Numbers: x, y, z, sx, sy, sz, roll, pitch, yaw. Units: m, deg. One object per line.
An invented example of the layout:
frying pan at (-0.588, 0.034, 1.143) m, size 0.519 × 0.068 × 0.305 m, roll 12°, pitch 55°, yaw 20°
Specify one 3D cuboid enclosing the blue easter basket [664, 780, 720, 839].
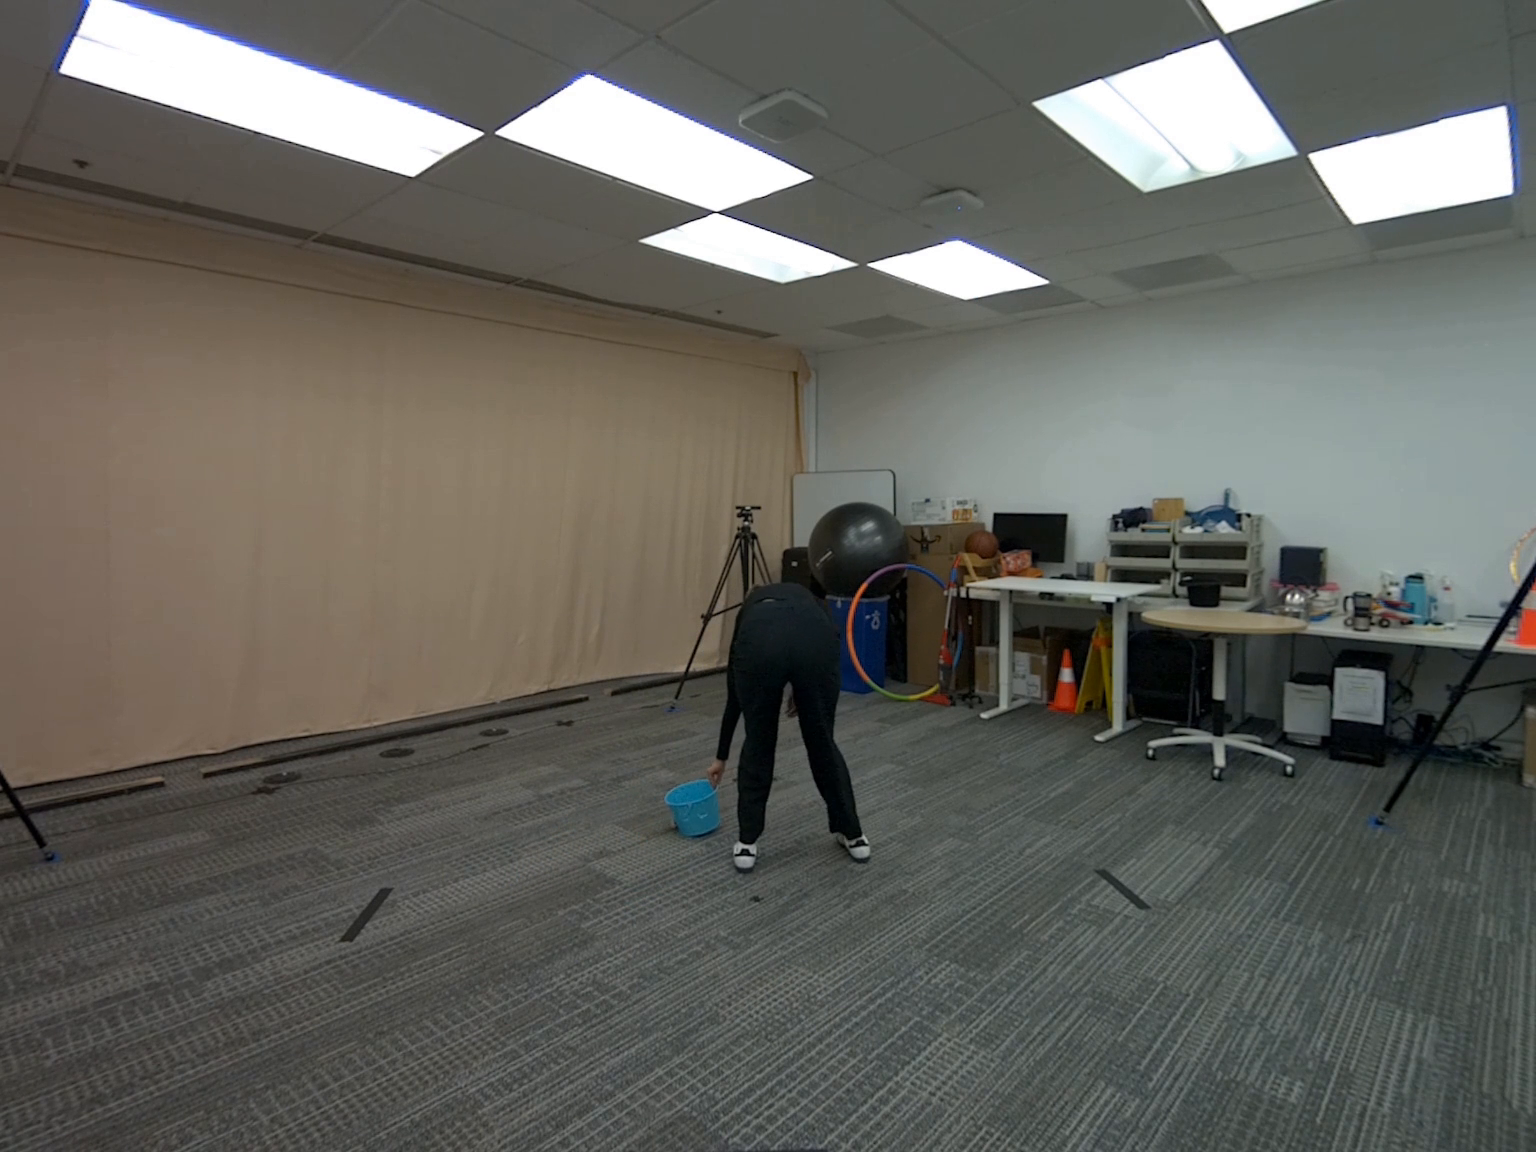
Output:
blue easter basket at (-0.312, 0.998, 3.617) m, size 0.244 × 0.155 × 0.245 m, roll -11°, pitch 8°, yaw 0°
